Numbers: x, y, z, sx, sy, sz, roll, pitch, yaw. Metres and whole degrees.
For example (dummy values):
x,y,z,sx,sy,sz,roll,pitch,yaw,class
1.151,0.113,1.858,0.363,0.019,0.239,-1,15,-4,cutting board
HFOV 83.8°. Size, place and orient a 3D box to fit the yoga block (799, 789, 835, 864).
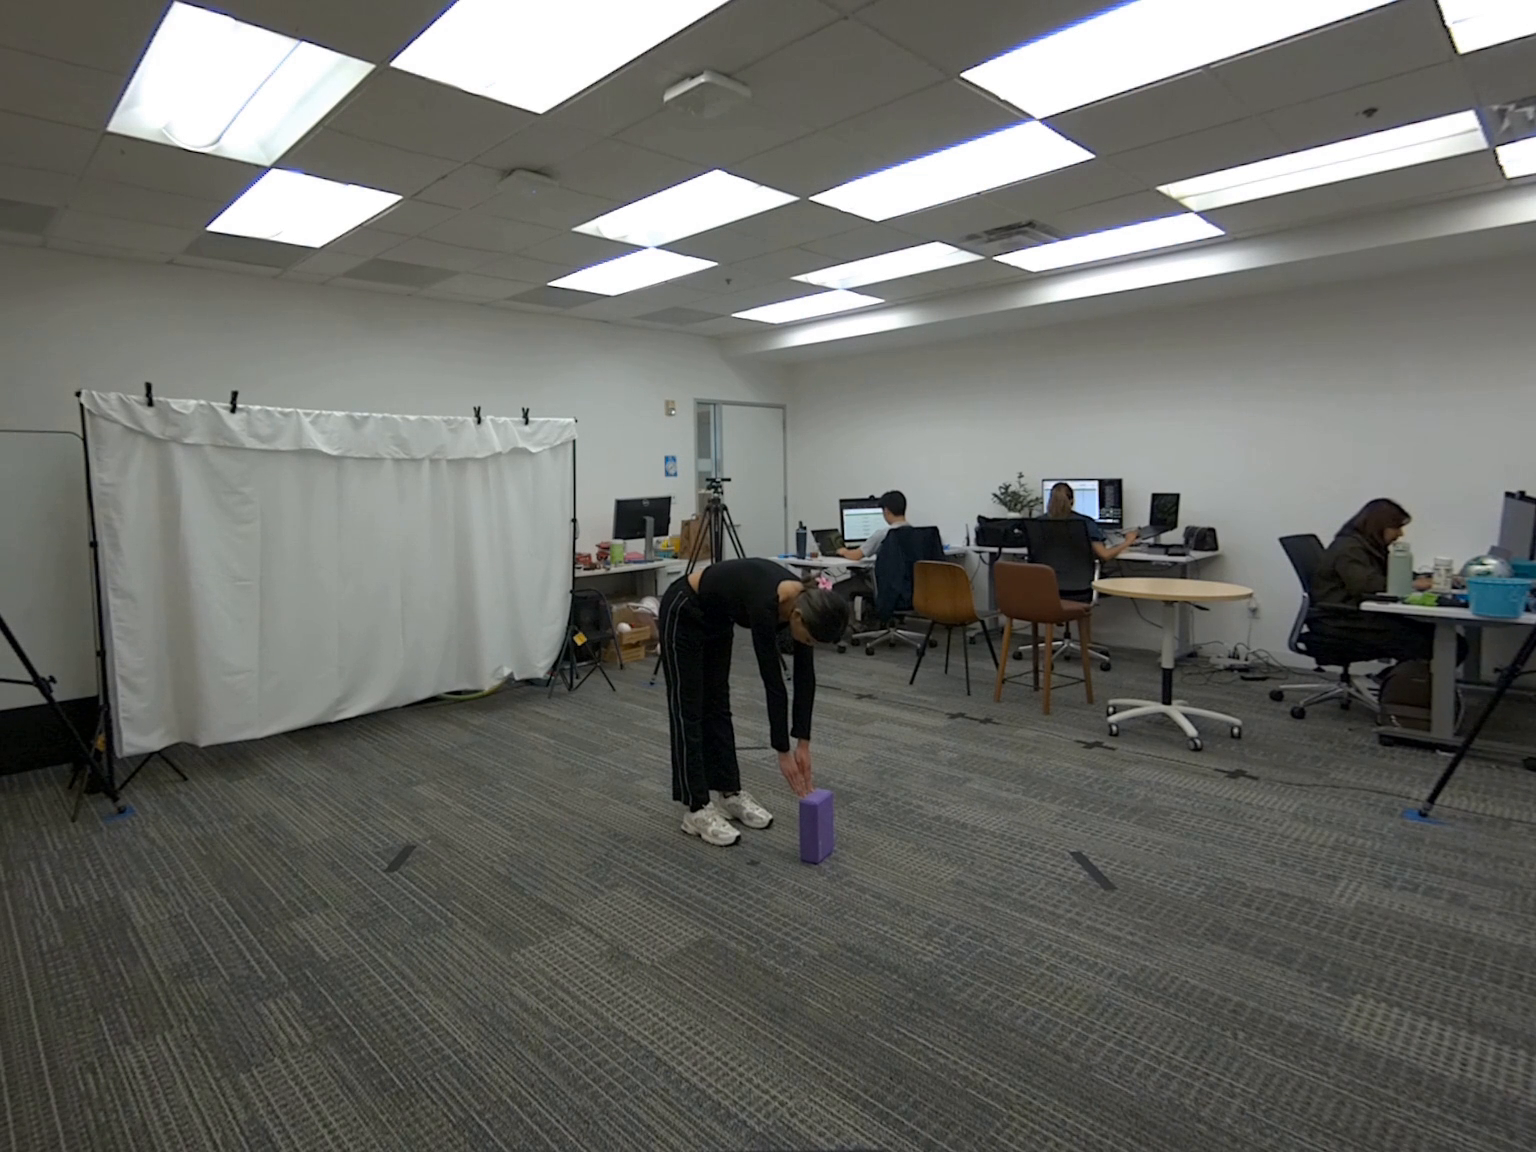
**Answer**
x,y,z,sx,sy,sz,roll,pitch,yaw,class
0.182,0.920,3.149,0.078,0.229,0.146,0,3,28,yoga block
